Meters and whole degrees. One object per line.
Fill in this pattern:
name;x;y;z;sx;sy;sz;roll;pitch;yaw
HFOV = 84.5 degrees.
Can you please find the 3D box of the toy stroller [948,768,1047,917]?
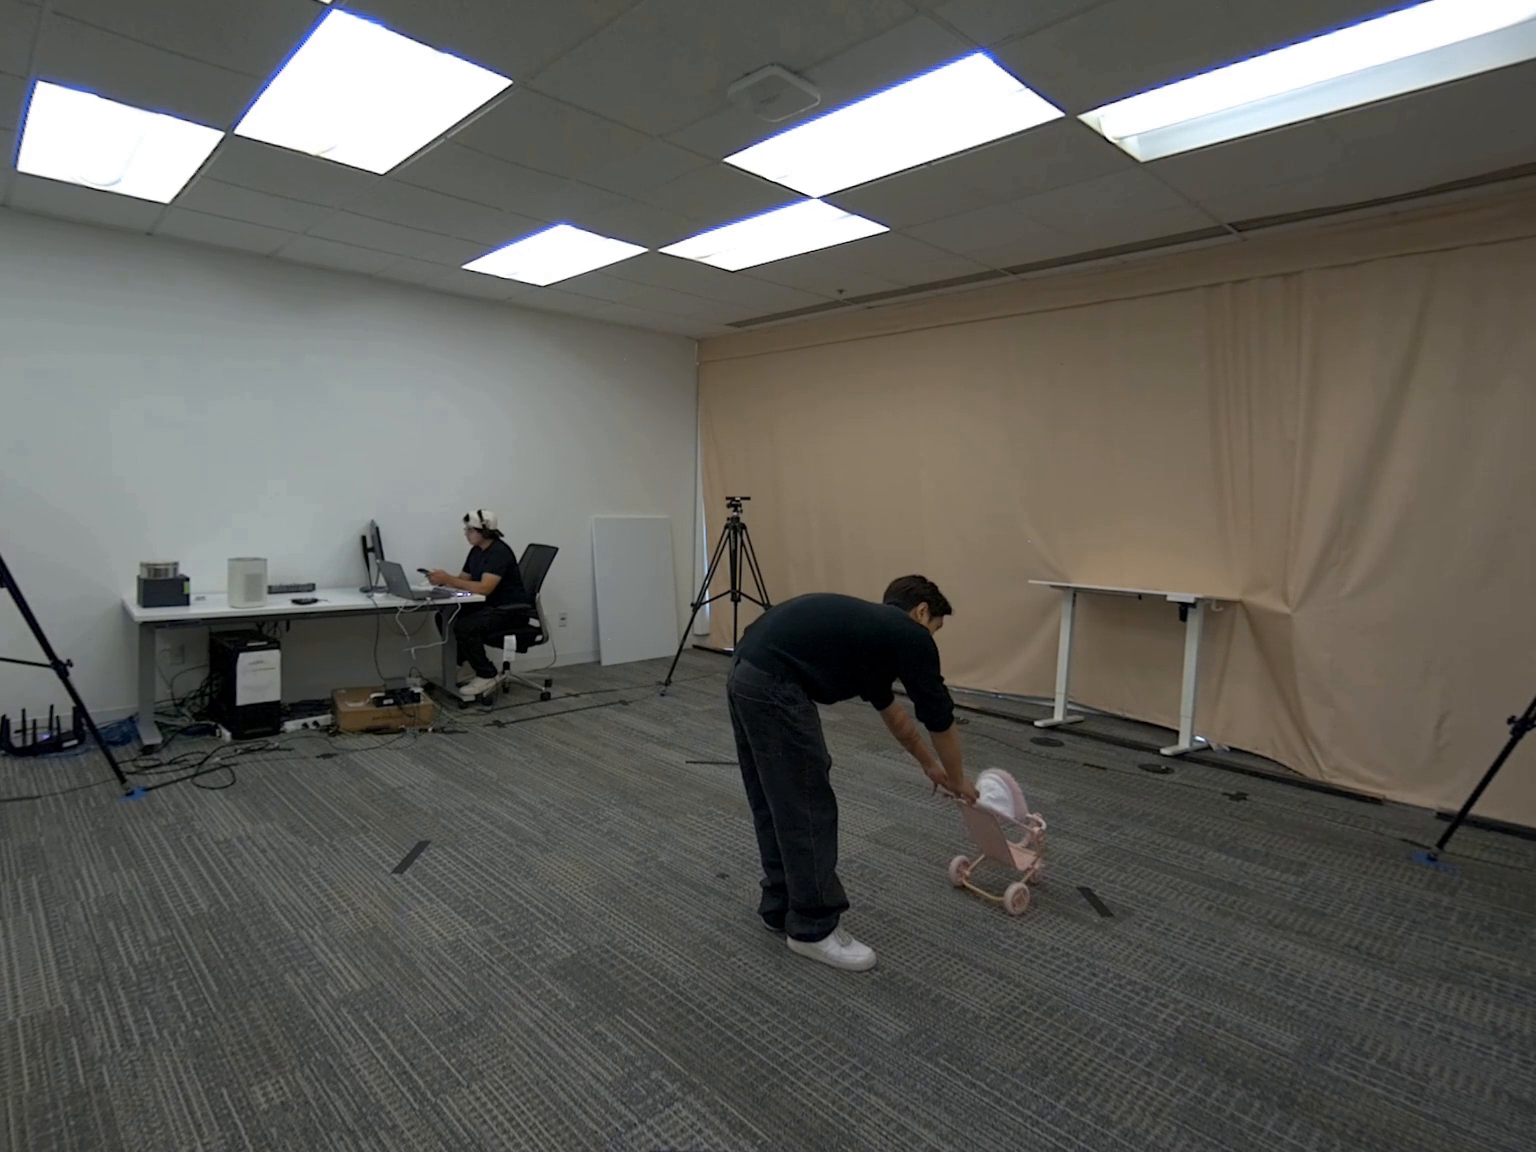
toy stroller;0.813;0.916;2.985;0.337;0.529;0.288;-20;14;-28
